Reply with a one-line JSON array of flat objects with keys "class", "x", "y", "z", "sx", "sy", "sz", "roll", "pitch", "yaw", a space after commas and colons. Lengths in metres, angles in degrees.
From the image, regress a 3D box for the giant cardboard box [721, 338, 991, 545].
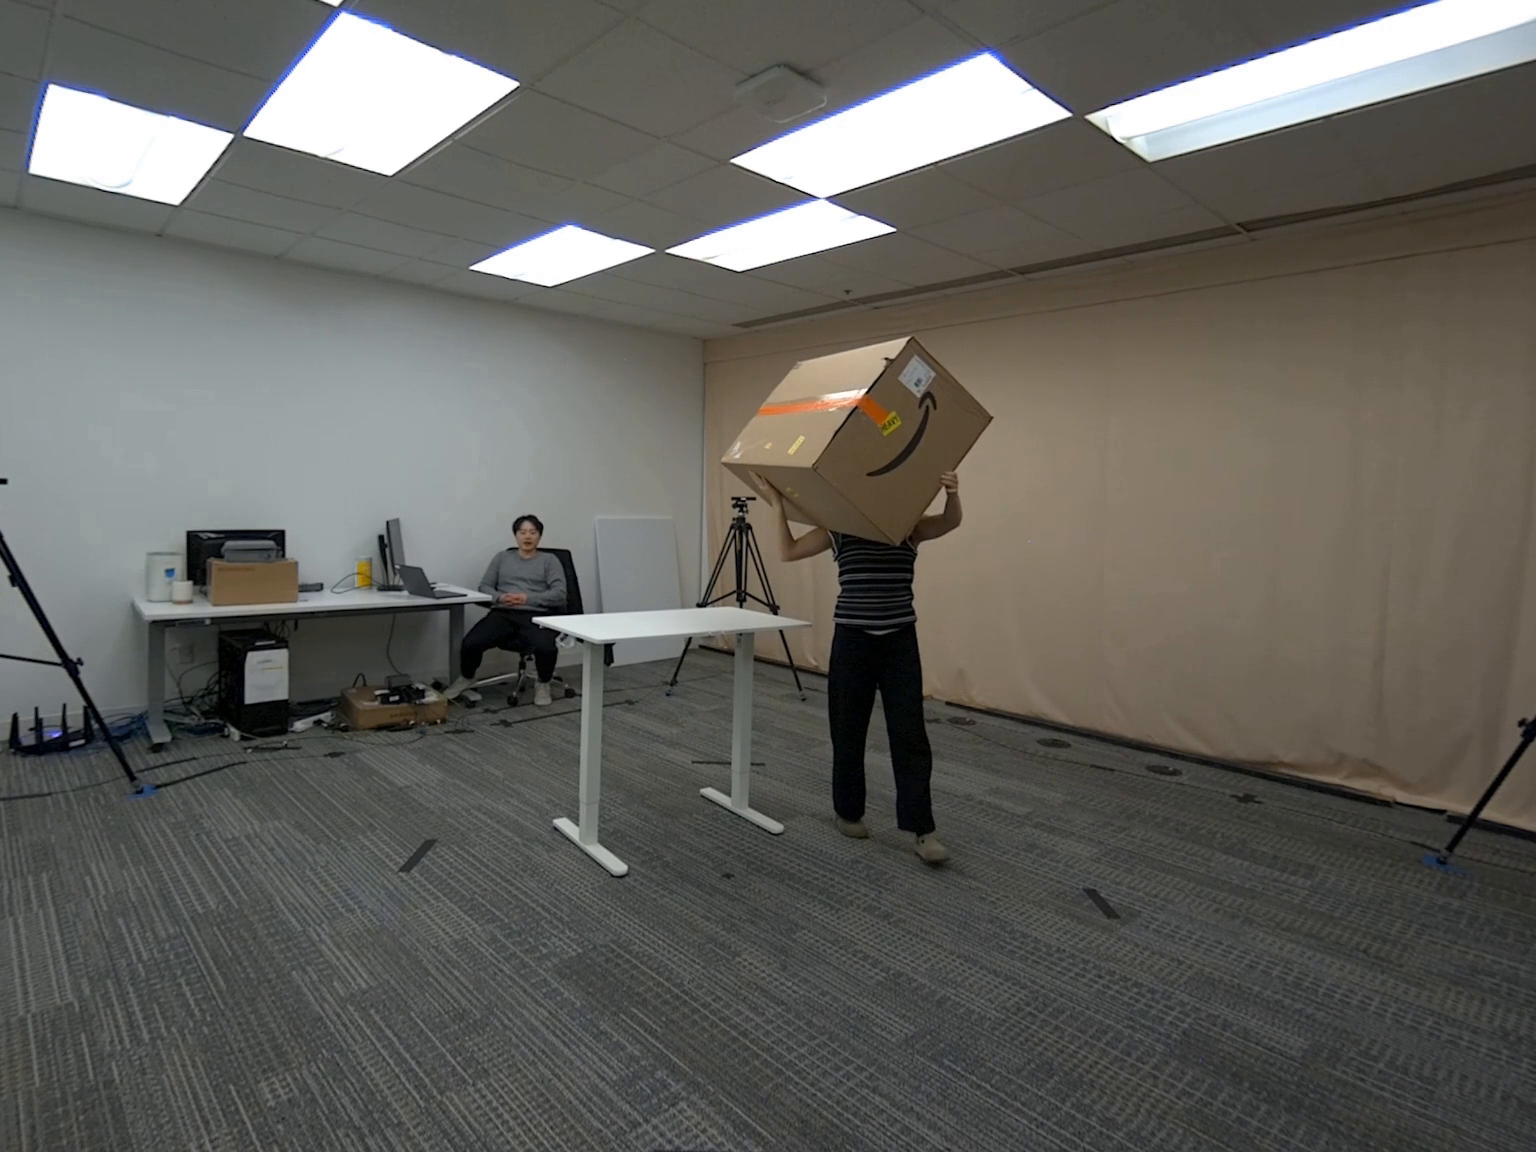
[{"class": "giant cardboard box", "x": 0.278, "y": -0.526, "z": 3.307, "sx": 0.418, "sy": 0.578, "sz": 1.046, "roll": 39, "pitch": -6, "yaw": -20}]
